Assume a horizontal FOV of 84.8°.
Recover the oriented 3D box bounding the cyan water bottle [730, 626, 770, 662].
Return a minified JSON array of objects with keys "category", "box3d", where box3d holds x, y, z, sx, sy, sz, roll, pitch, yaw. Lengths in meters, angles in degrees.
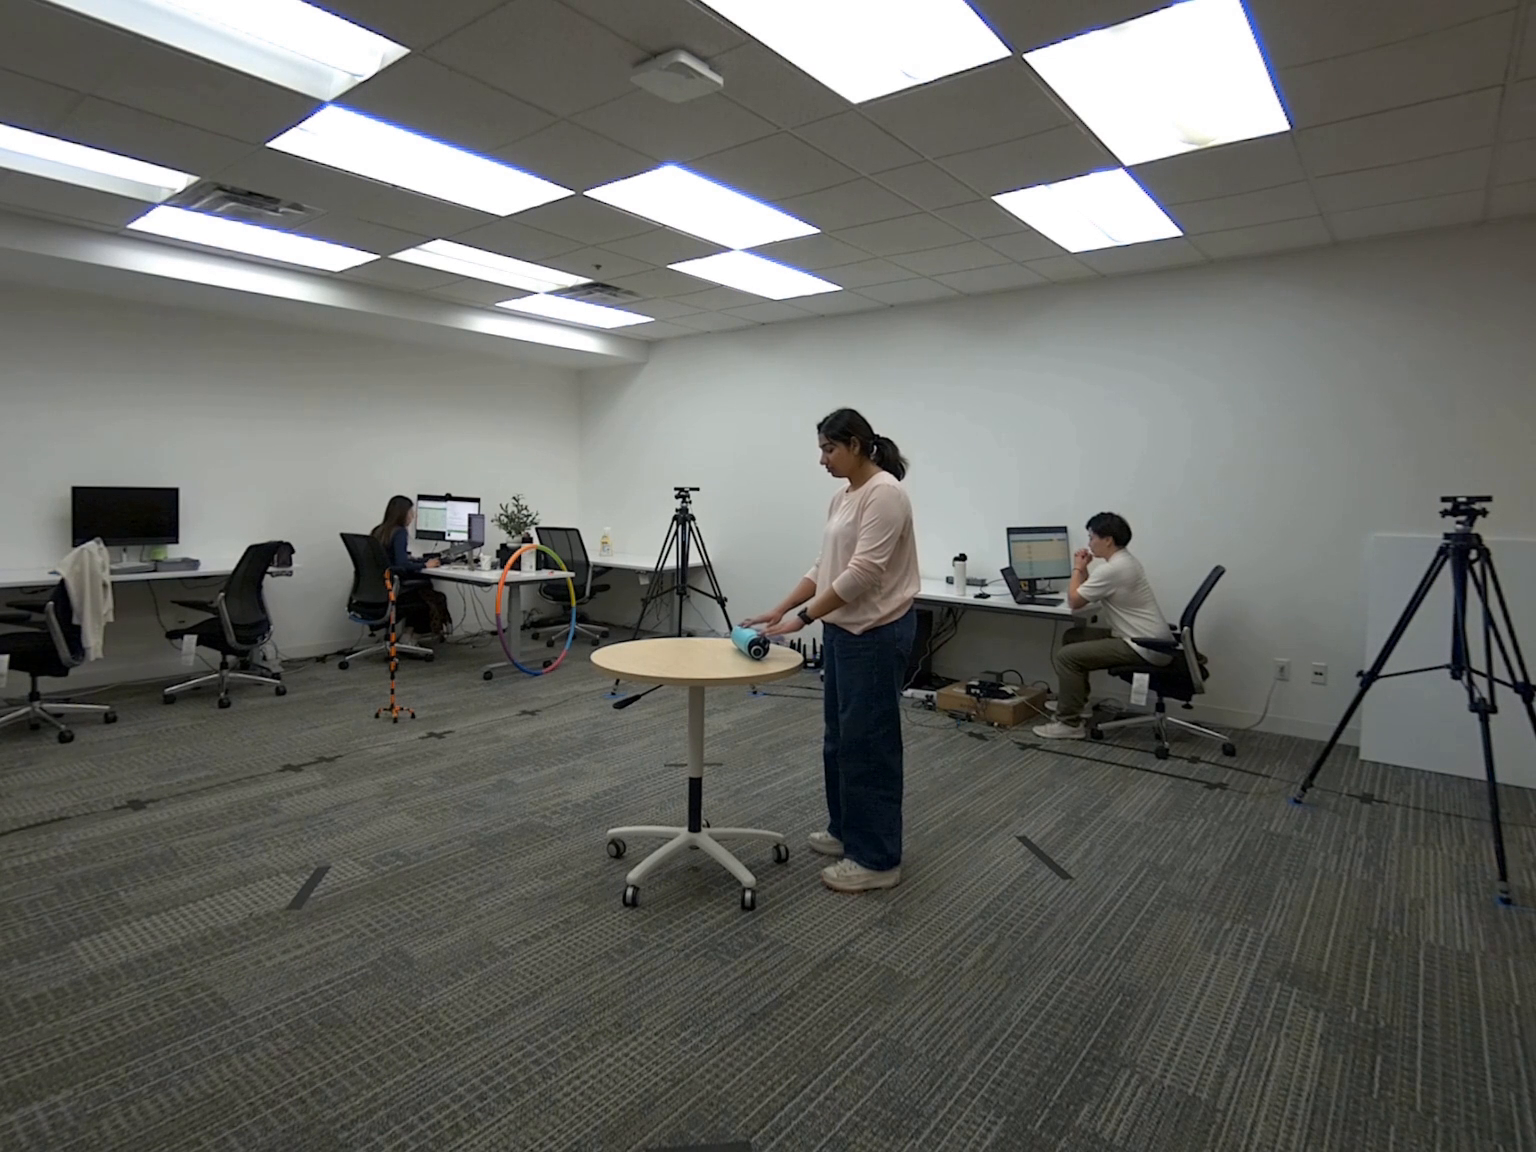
[{"category":"cyan water bottle","box3d":[-0.079,0.238,3.113,0.091,0.092,0.288,0,5,-15]}]
